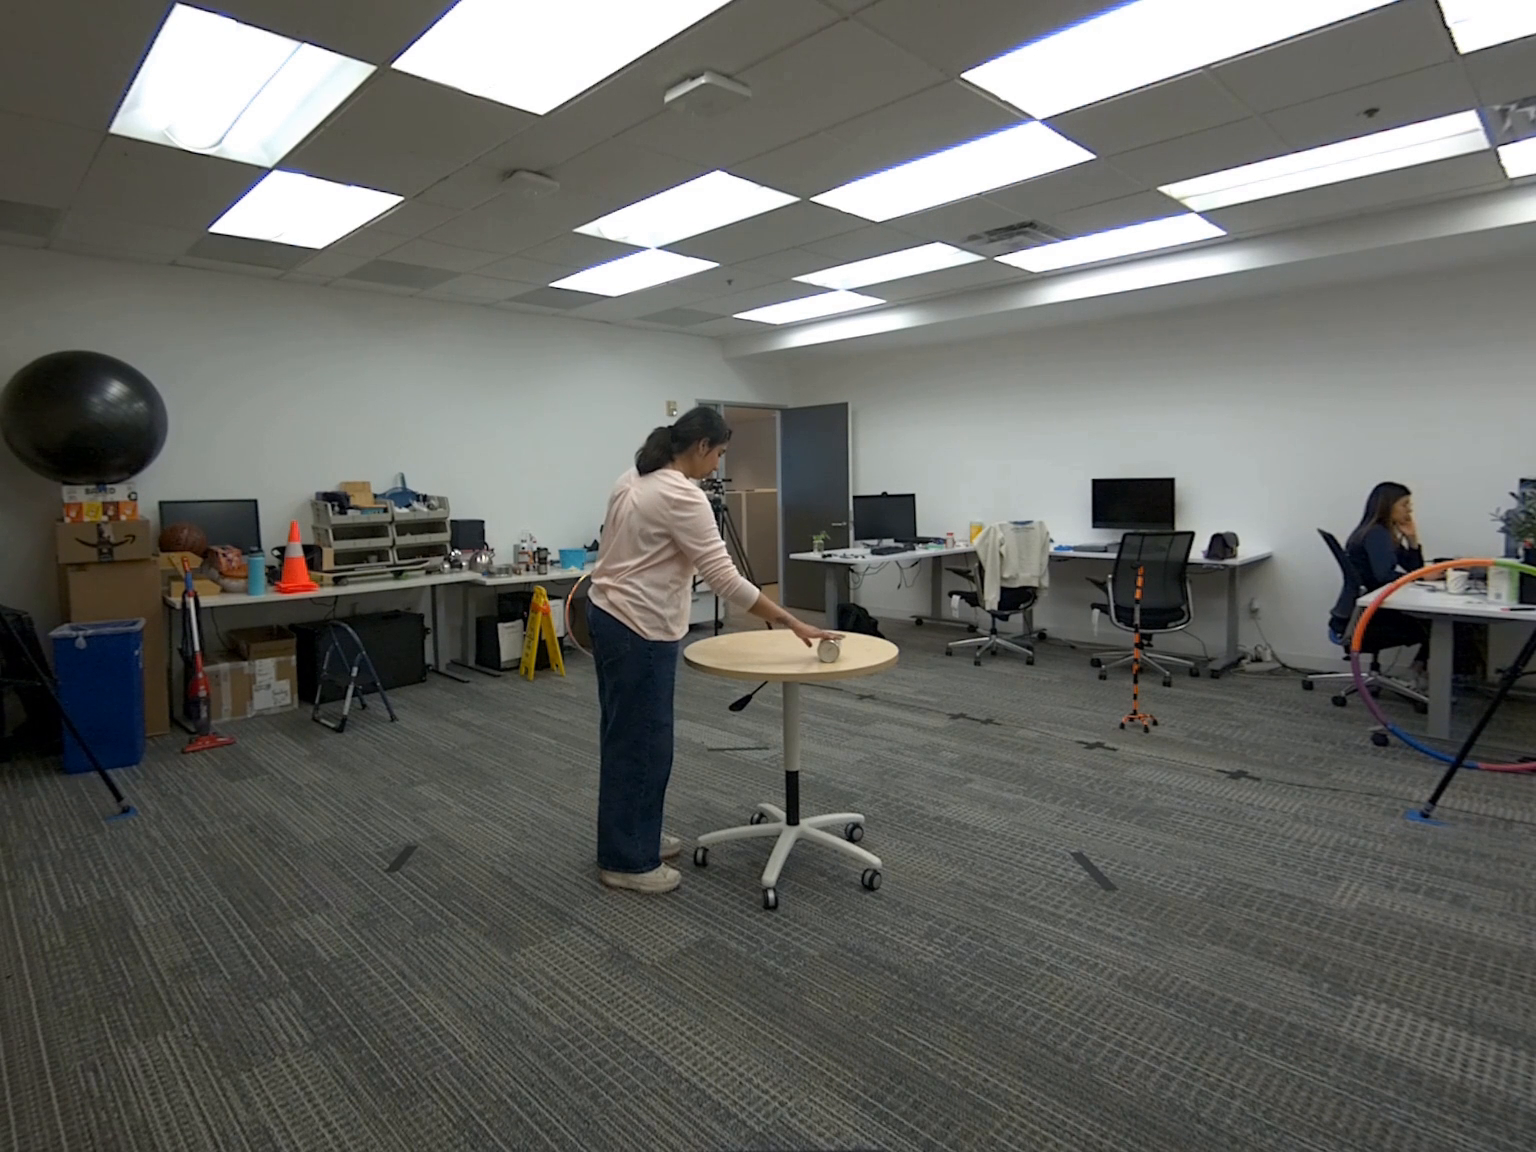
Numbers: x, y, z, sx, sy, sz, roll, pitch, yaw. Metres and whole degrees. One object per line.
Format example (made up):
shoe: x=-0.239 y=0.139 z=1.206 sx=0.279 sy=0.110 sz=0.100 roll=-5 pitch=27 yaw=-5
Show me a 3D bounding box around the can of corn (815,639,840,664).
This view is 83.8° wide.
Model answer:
can of corn: x=0.203 y=0.242 z=2.868 sx=0.075 sy=0.074 sz=0.111 roll=0 pitch=5 yaw=6
